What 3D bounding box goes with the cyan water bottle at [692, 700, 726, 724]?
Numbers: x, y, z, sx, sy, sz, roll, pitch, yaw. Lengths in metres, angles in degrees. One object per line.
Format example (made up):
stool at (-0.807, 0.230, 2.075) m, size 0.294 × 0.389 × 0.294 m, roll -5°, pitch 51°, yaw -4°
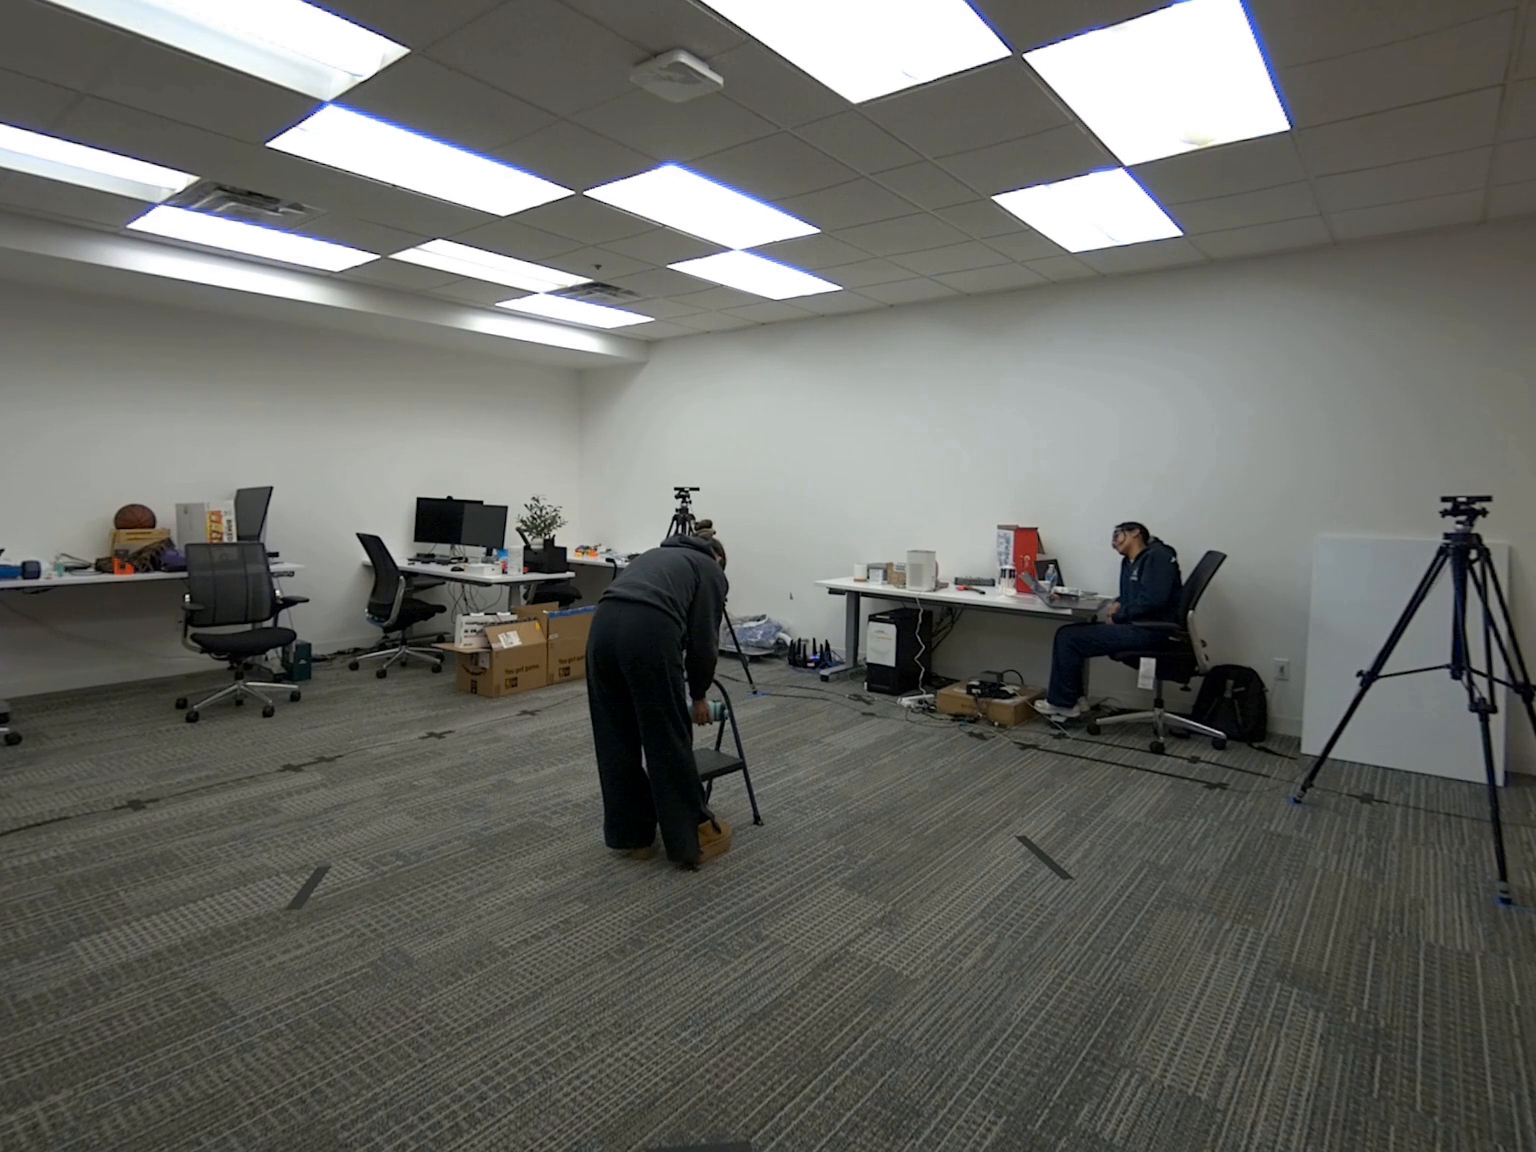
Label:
cyan water bottle at (-0.310, 0.548, 3.482) m, size 0.284 × 0.092 × 0.092 m, roll -2°, pitch 4°, yaw 2°
